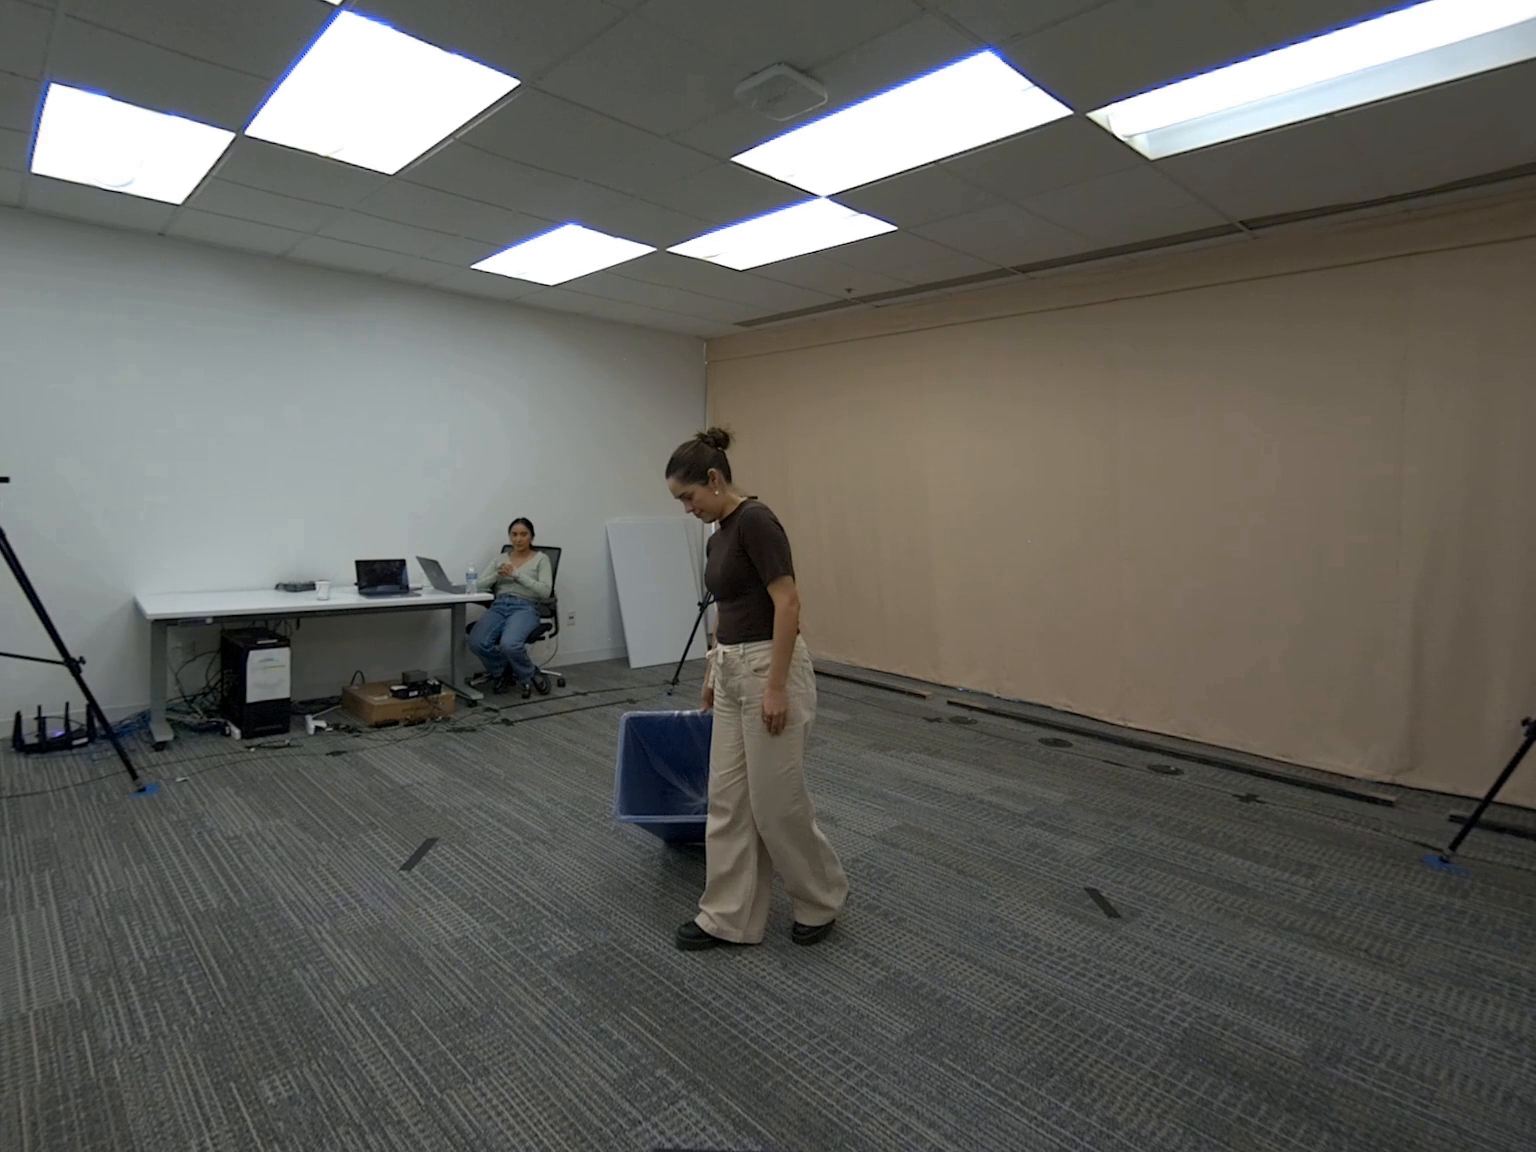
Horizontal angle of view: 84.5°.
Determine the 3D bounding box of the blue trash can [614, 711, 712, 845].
[{"bbox_3d":[-0.310,0.788,3.128,0.379,0.381,0.698,-3,-27,4],"label":"blue trash can"}]
